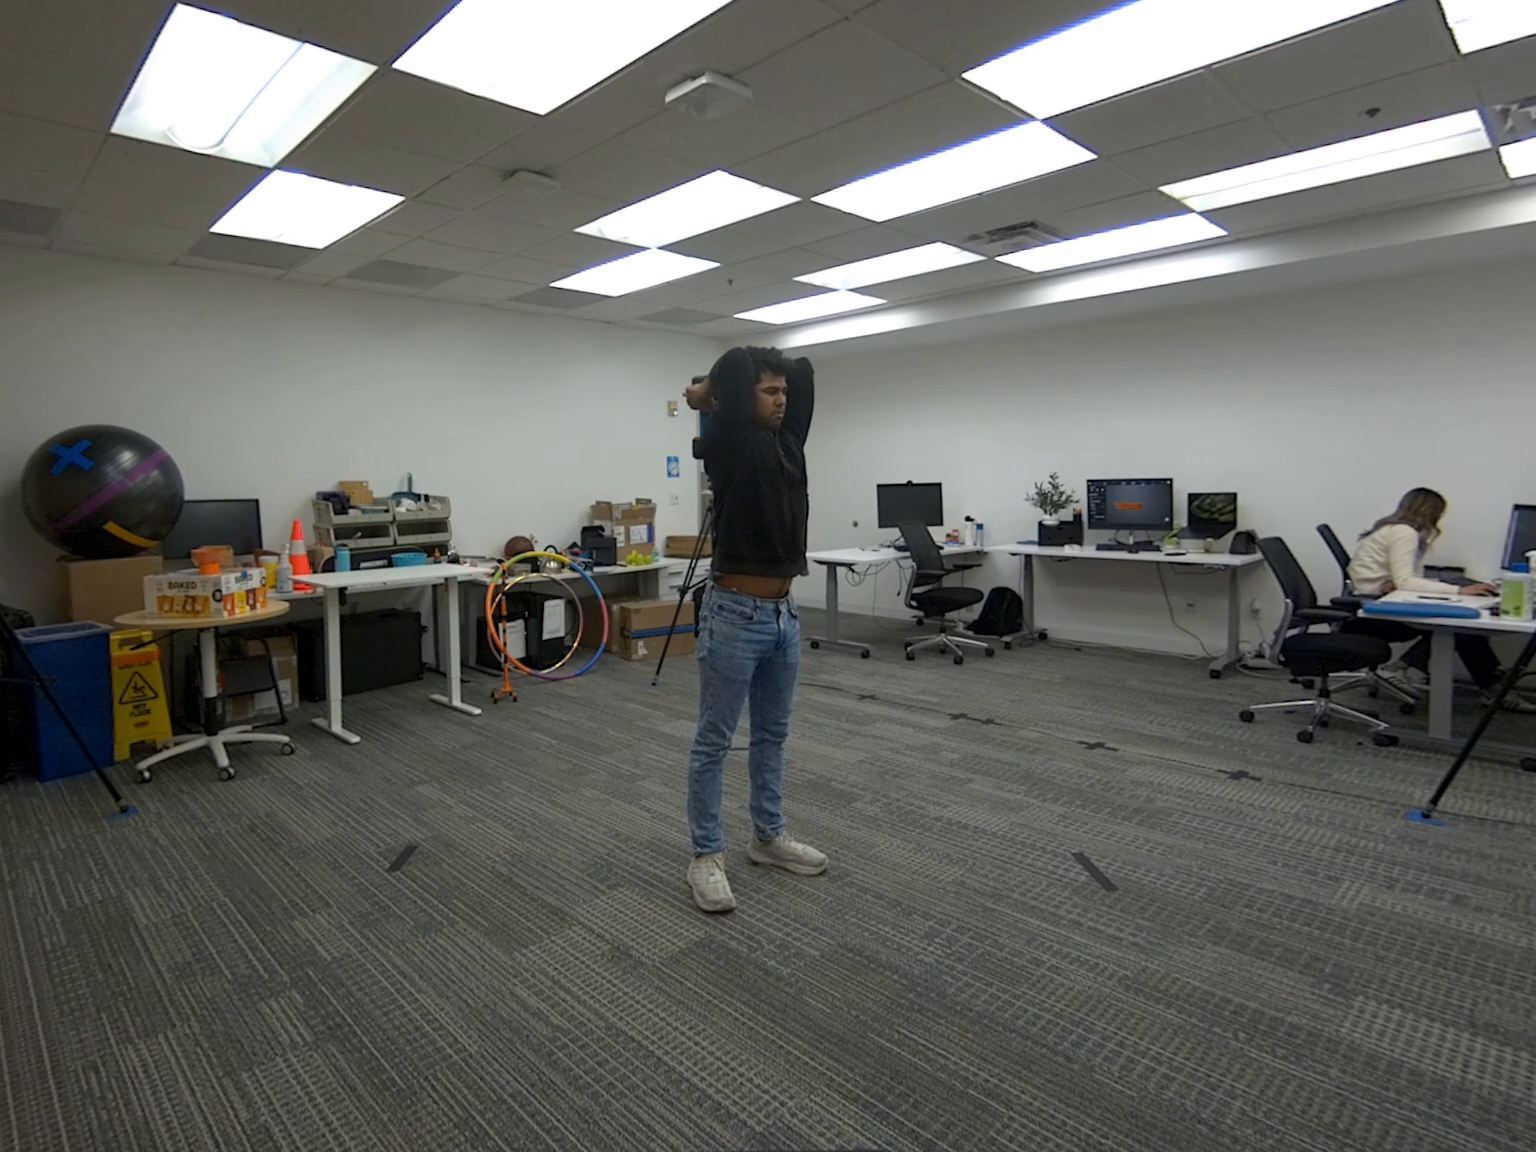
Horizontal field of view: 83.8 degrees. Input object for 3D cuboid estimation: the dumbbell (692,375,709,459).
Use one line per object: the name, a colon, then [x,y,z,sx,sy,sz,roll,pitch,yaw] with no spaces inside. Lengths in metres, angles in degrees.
dumbbell: [-0.191,-0.567,3.019,0.120,0.291,0.112,-7,9,-38]
